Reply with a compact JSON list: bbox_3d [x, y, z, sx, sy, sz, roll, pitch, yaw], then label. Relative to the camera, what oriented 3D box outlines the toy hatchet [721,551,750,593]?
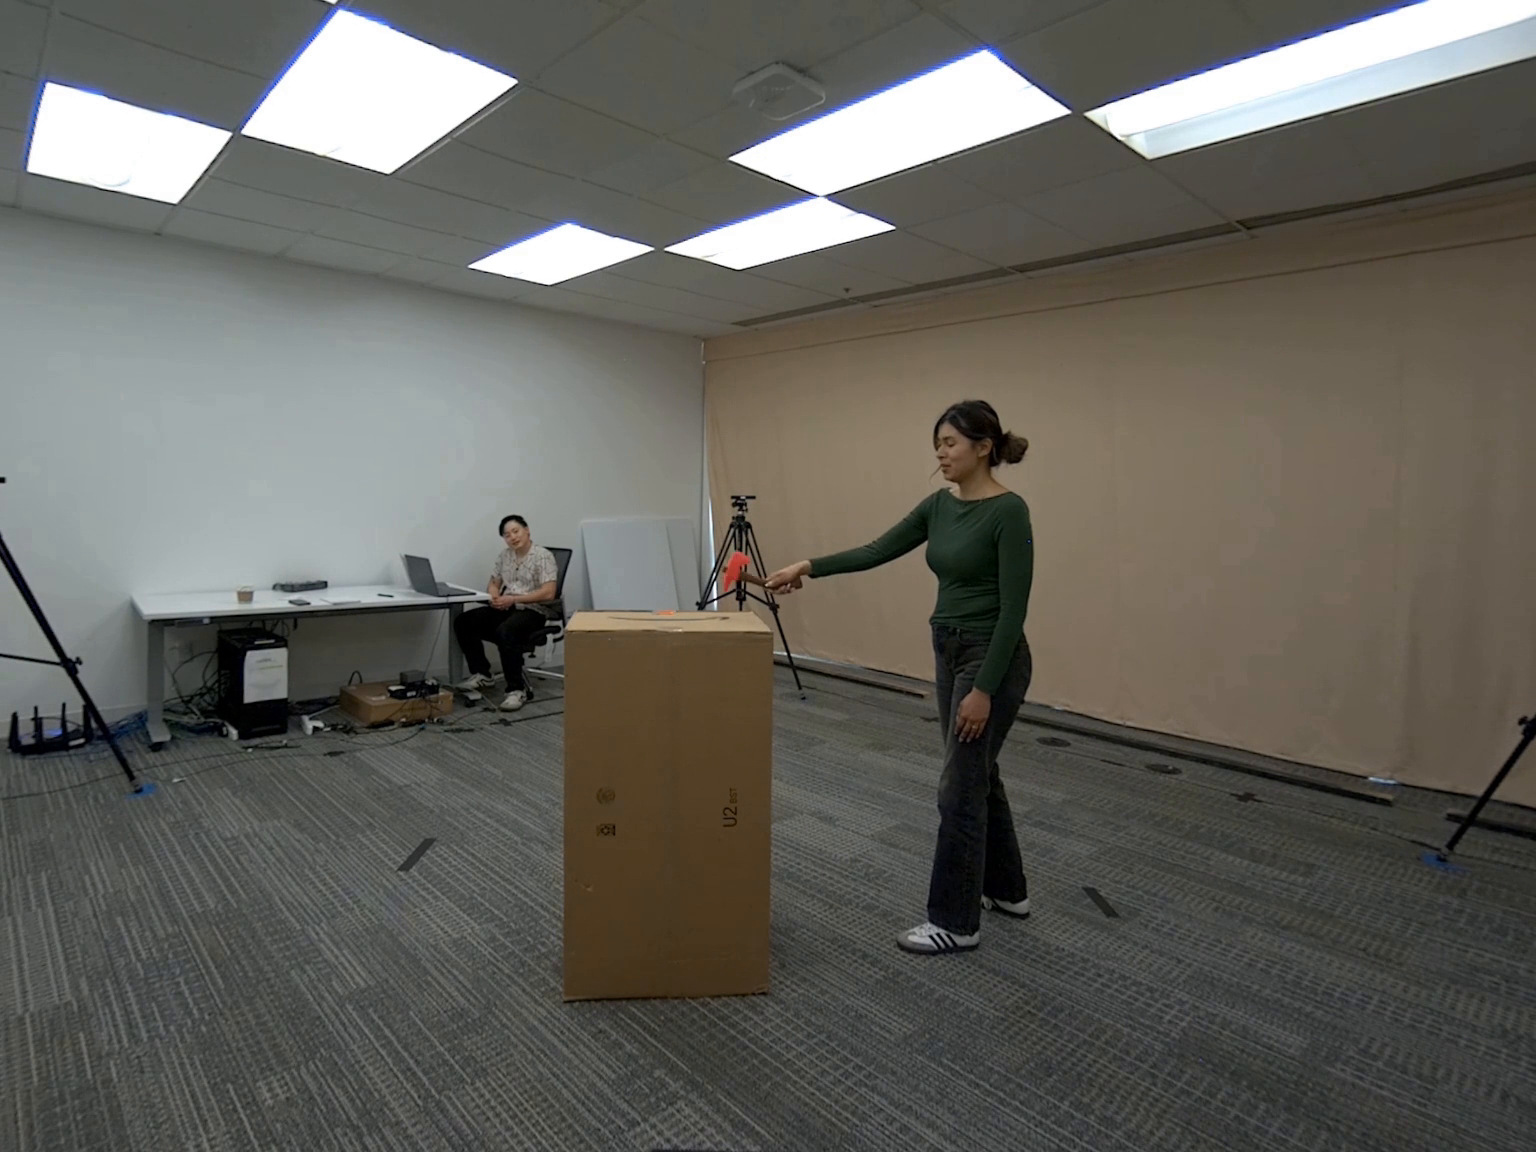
[{"bbox_3d":[-0.020,-0.033,2.664,0.268,0.132,0.029,-4,-10,-9],"label":"toy hatchet"}]
